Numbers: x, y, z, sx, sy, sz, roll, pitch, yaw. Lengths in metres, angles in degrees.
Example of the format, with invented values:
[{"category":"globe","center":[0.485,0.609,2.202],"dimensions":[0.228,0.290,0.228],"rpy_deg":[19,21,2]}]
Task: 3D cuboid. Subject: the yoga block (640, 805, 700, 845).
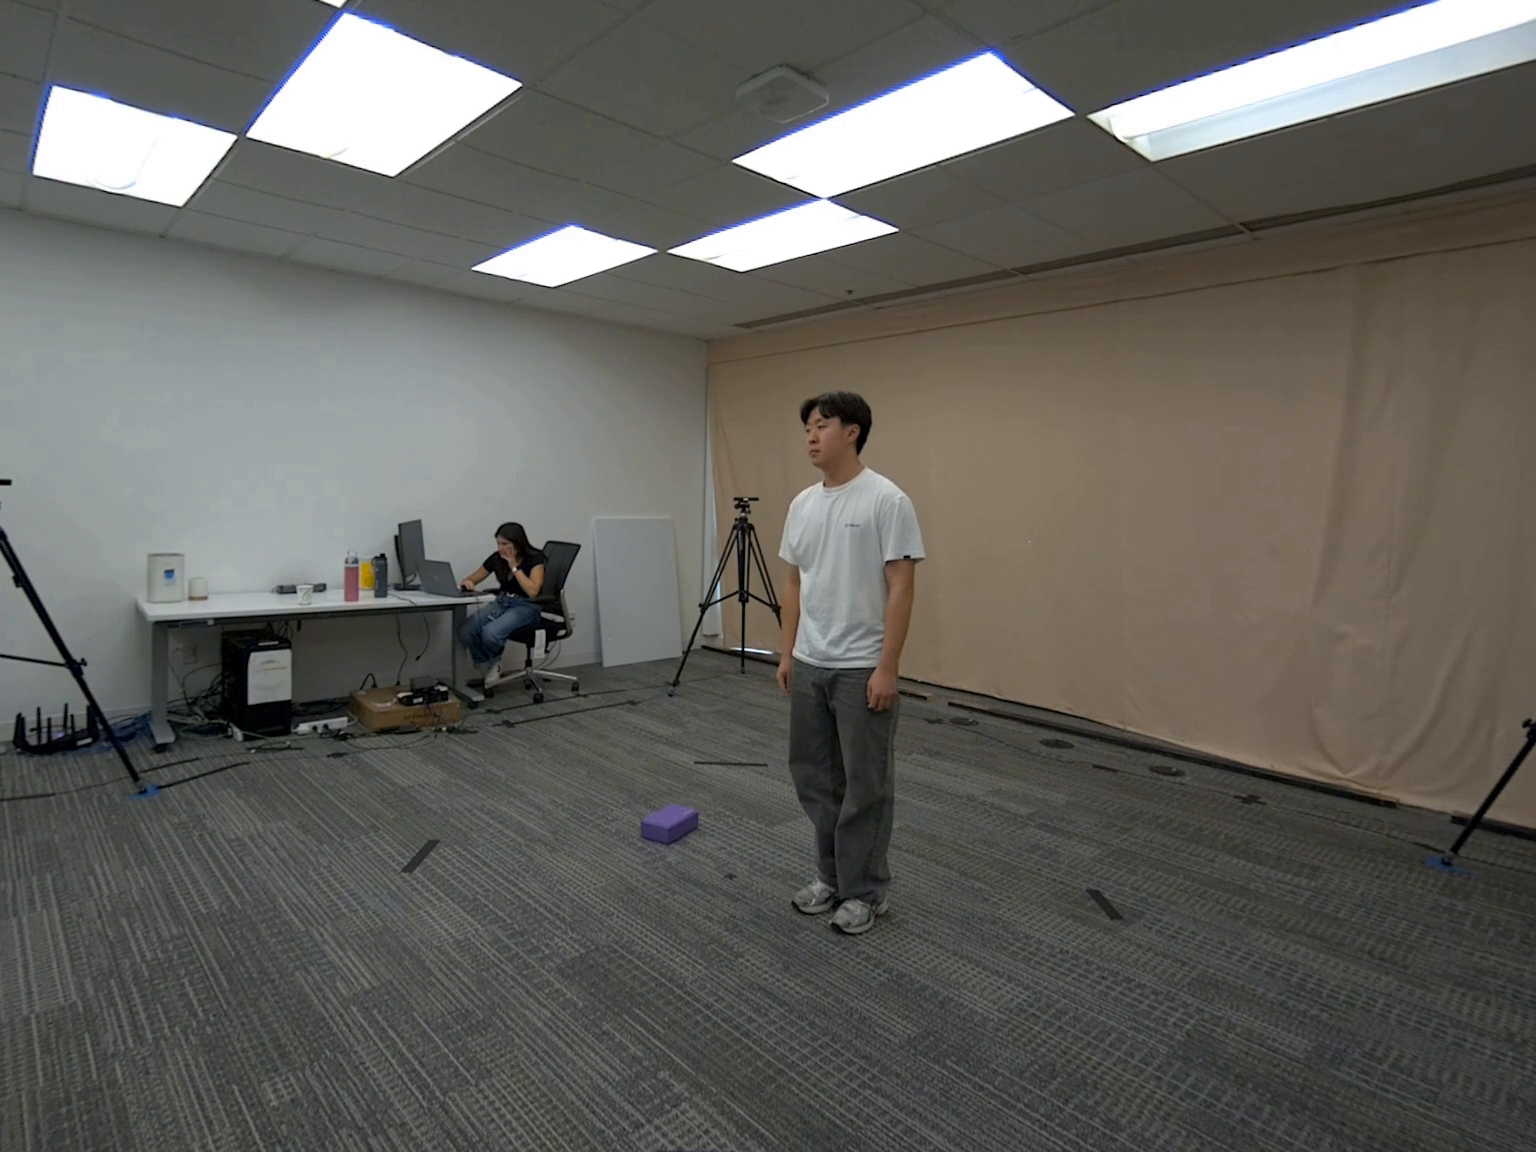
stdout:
[{"category":"yoga block","center":[-0.418,1.031,3.492],"dimensions":[0.152,0.076,0.225],"rpy_deg":[5,6,27]}]
